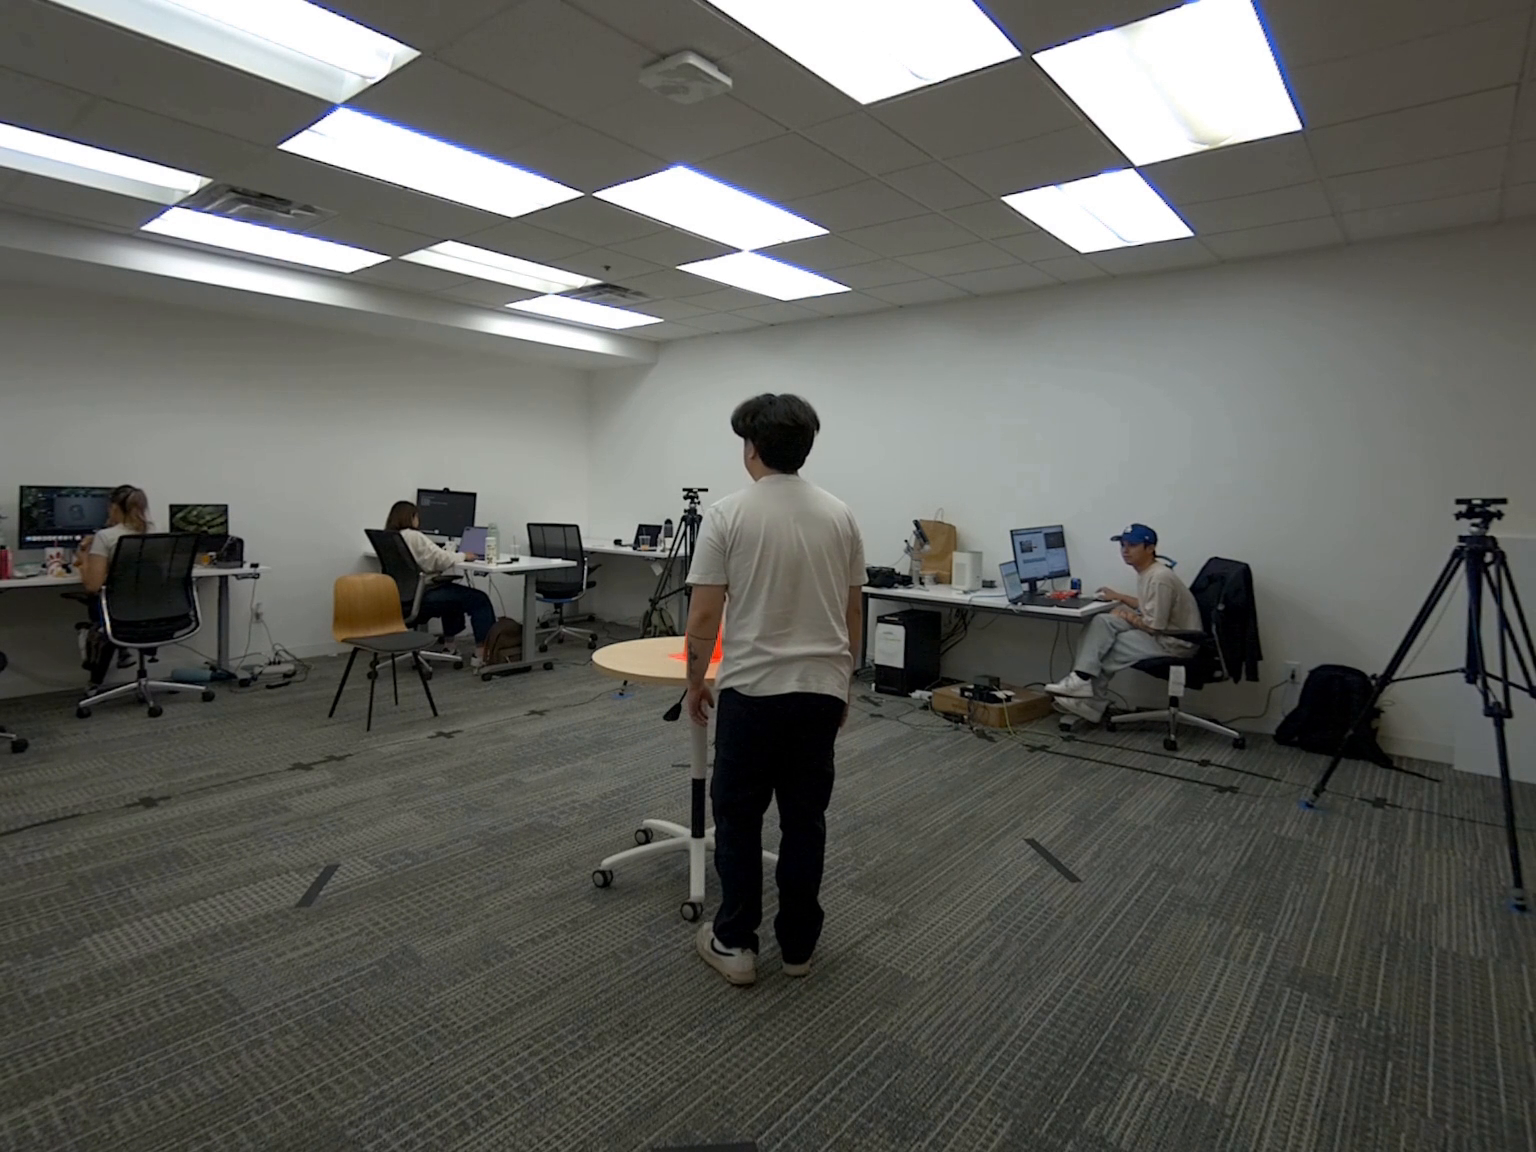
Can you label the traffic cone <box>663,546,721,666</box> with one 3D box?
[{"bbox_3d":[-0.228,0.096,2.984,0.211,0.382,0.198,2,5,31],"label":"traffic cone"}]
